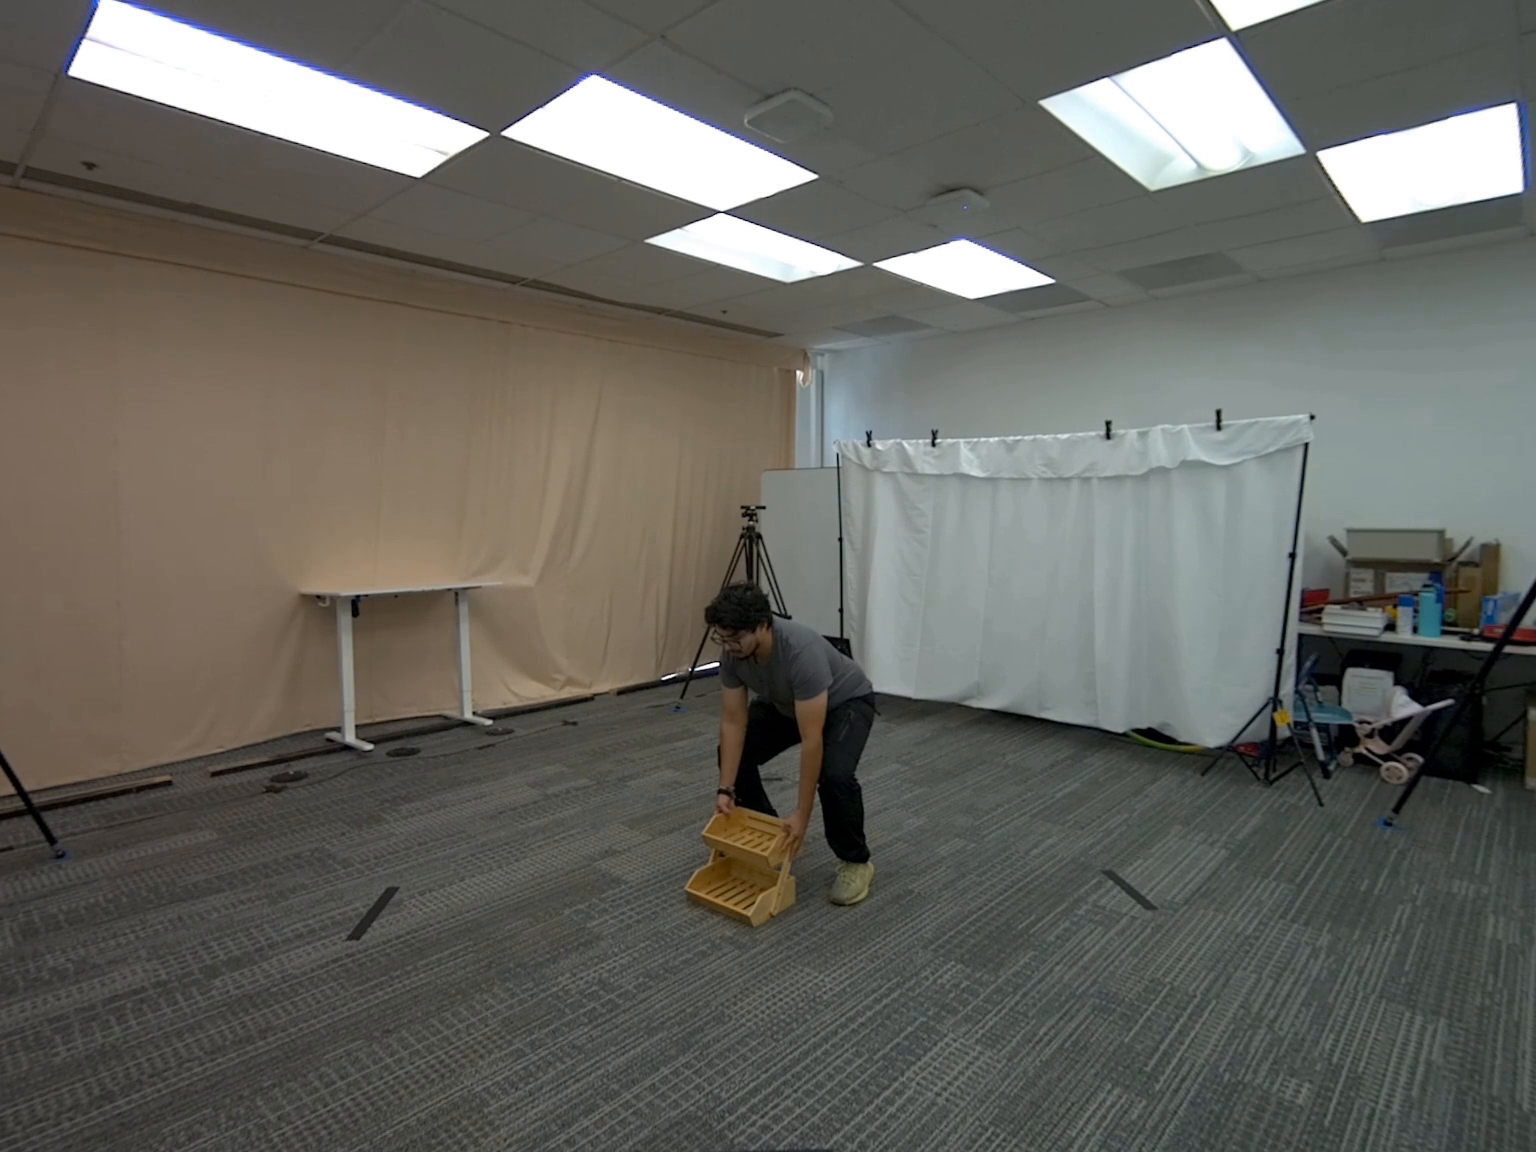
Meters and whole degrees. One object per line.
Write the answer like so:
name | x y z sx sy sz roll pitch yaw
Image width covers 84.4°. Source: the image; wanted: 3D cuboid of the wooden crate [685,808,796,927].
wooden crate | -0.084 1.012 2.970 0.335 0.273 0.293 3 5 39
